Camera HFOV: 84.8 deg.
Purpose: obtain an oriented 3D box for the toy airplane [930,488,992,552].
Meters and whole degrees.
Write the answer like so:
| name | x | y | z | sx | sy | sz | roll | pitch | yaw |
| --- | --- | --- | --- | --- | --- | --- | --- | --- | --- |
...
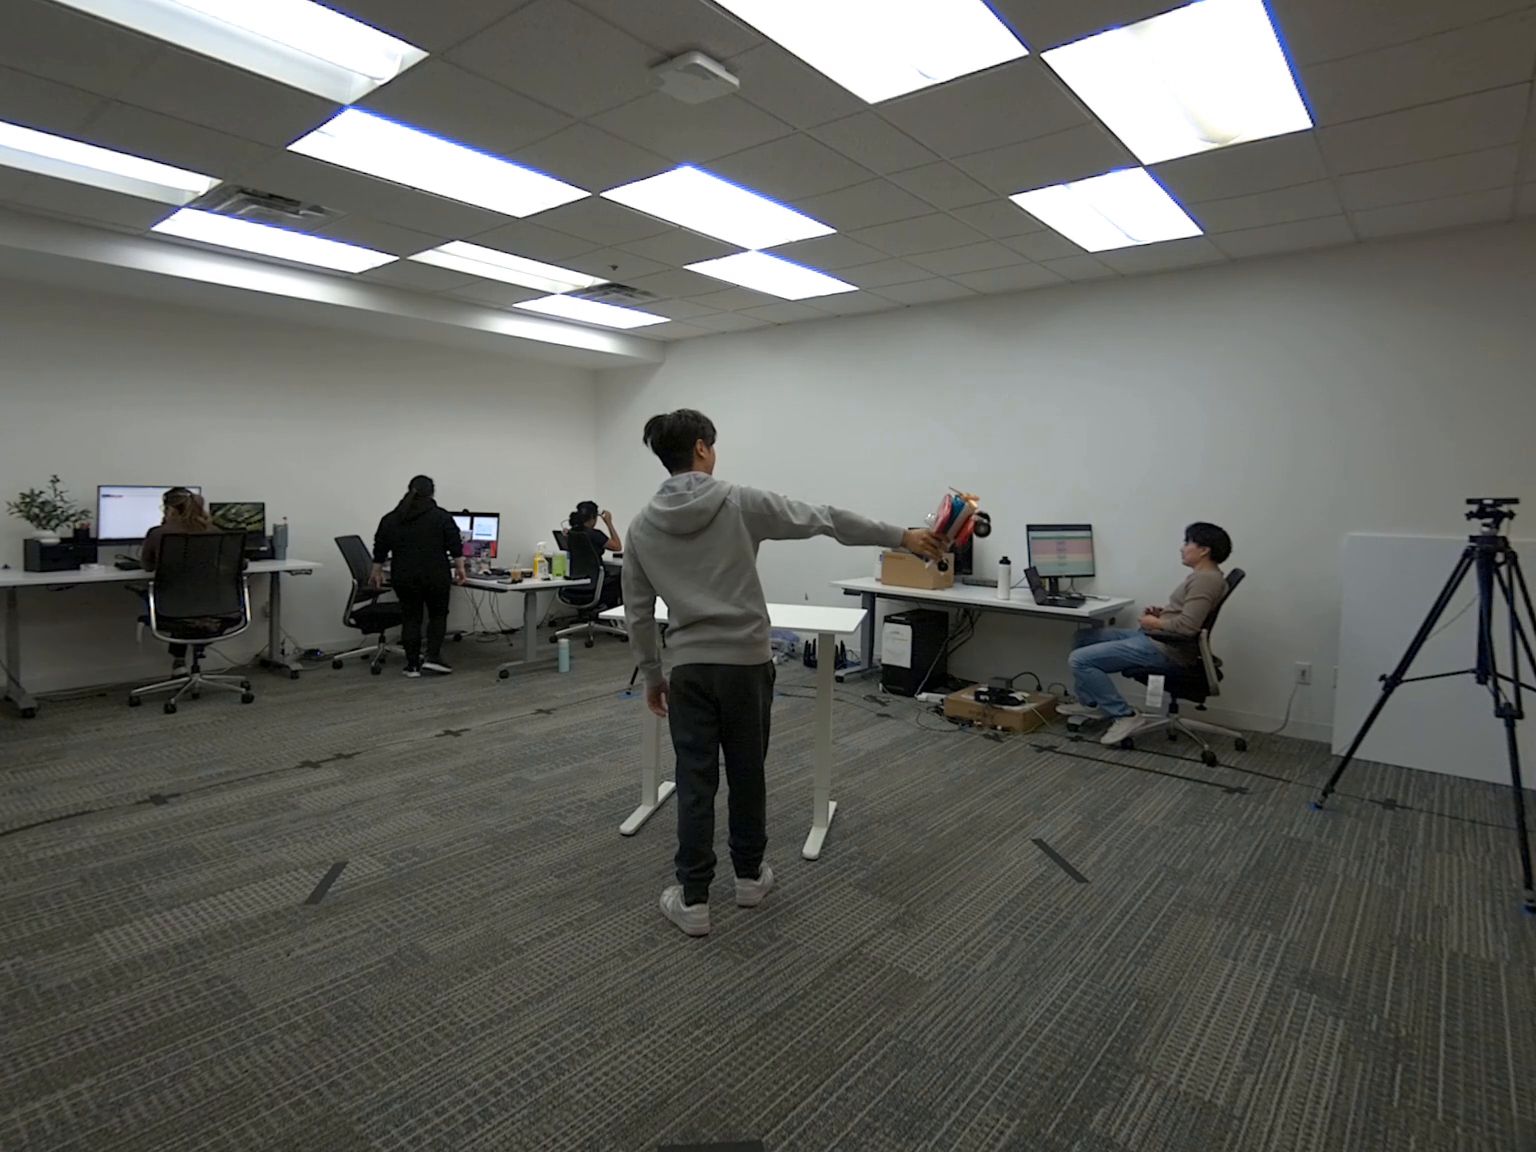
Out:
| name | x | y | z | sx | sy | sz | roll | pitch | yaw |
| --- | --- | --- | --- | --- | --- | --- | --- | --- | --- |
| toy airplane | 0.558 | -0.142 | 2.643 | 0.156 | 0.259 | 0.252 | 43 | -4 | -4 |
